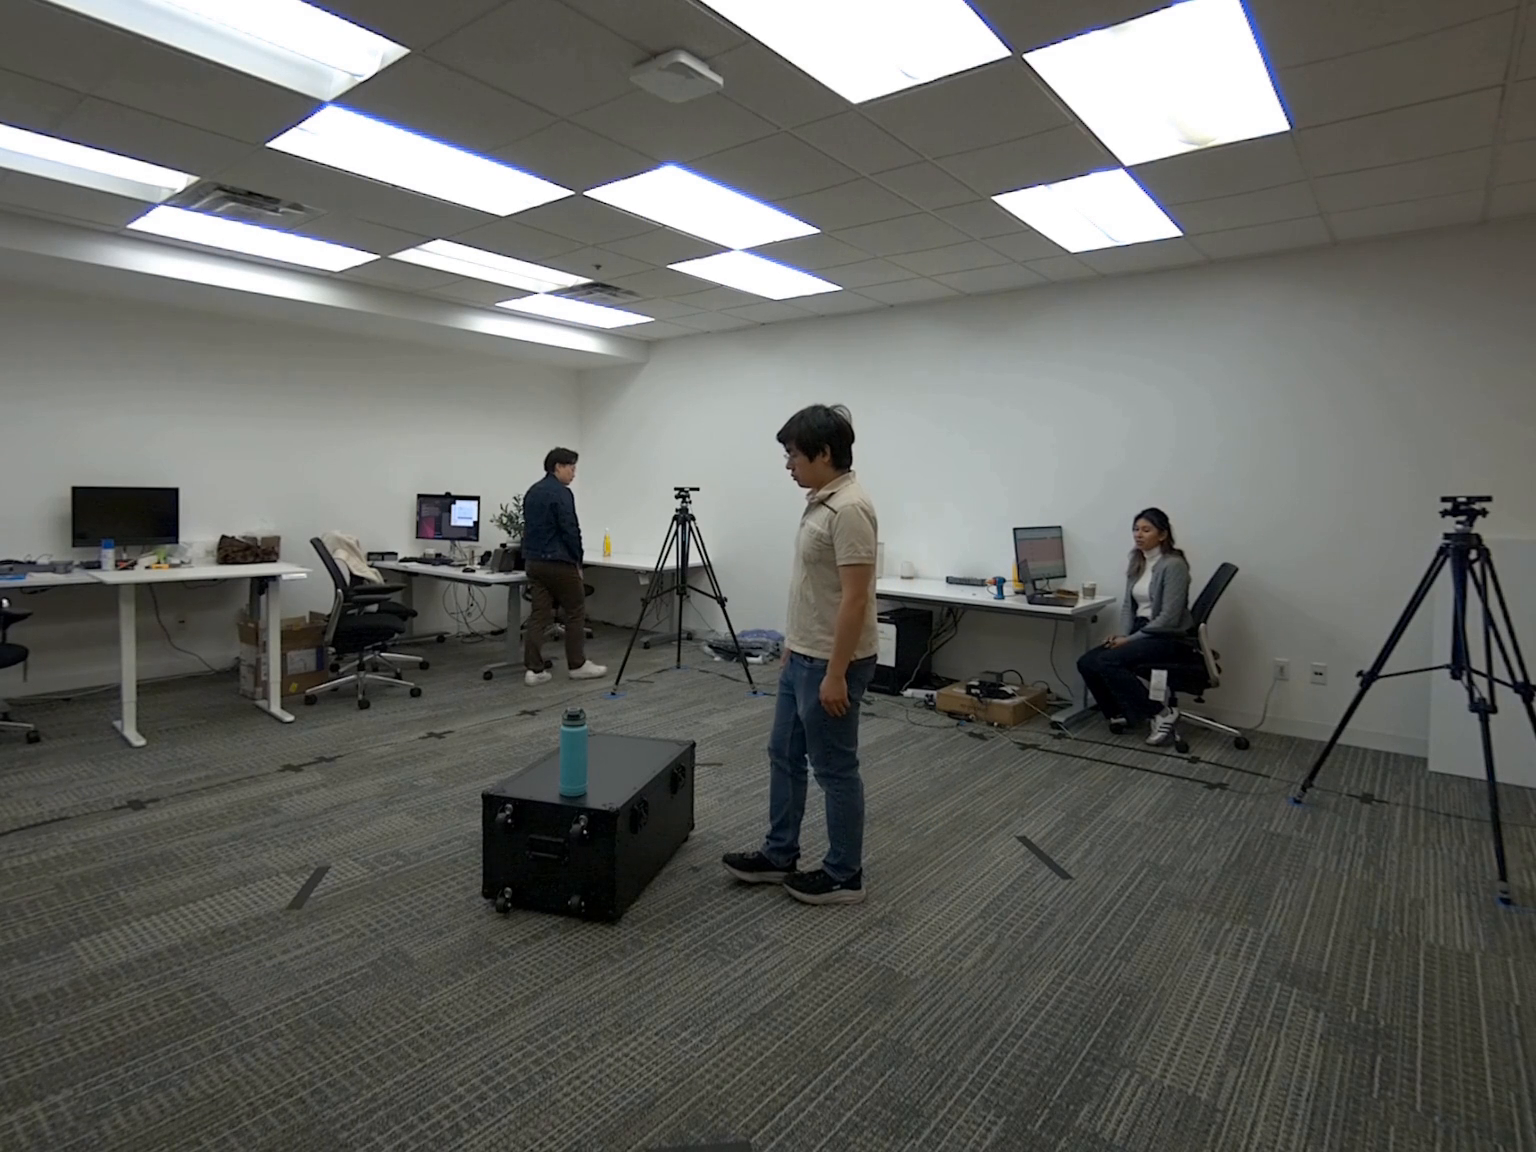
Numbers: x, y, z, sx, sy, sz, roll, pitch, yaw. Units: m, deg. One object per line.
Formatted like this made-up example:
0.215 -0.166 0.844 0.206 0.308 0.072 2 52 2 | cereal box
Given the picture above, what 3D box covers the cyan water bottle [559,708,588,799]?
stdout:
-0.658 0.573 2.821 0.092 0.283 0.092 1 1 -2 | cyan water bottle
